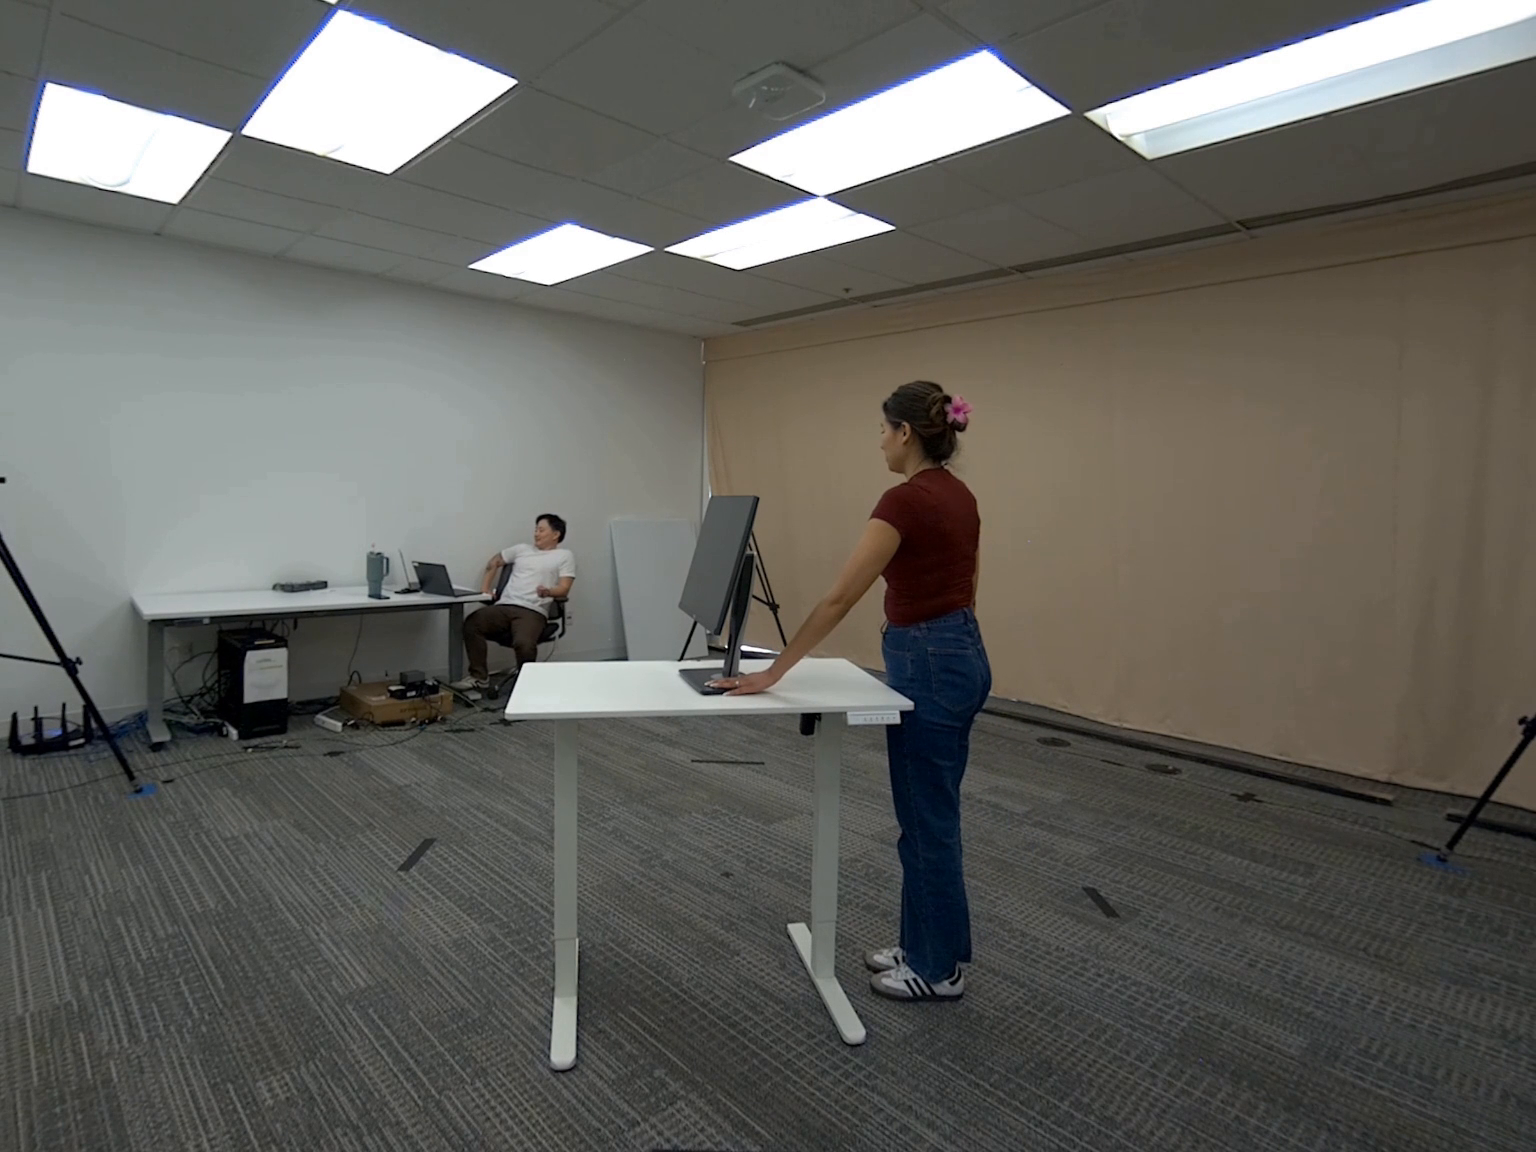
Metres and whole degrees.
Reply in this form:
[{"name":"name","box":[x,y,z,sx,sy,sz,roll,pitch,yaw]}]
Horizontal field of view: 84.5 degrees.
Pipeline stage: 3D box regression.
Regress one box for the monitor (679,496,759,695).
[{"name":"monitor","box":[-0.119,0.041,2.296,0.184,0.522,0.547,3,3,-17]}]
